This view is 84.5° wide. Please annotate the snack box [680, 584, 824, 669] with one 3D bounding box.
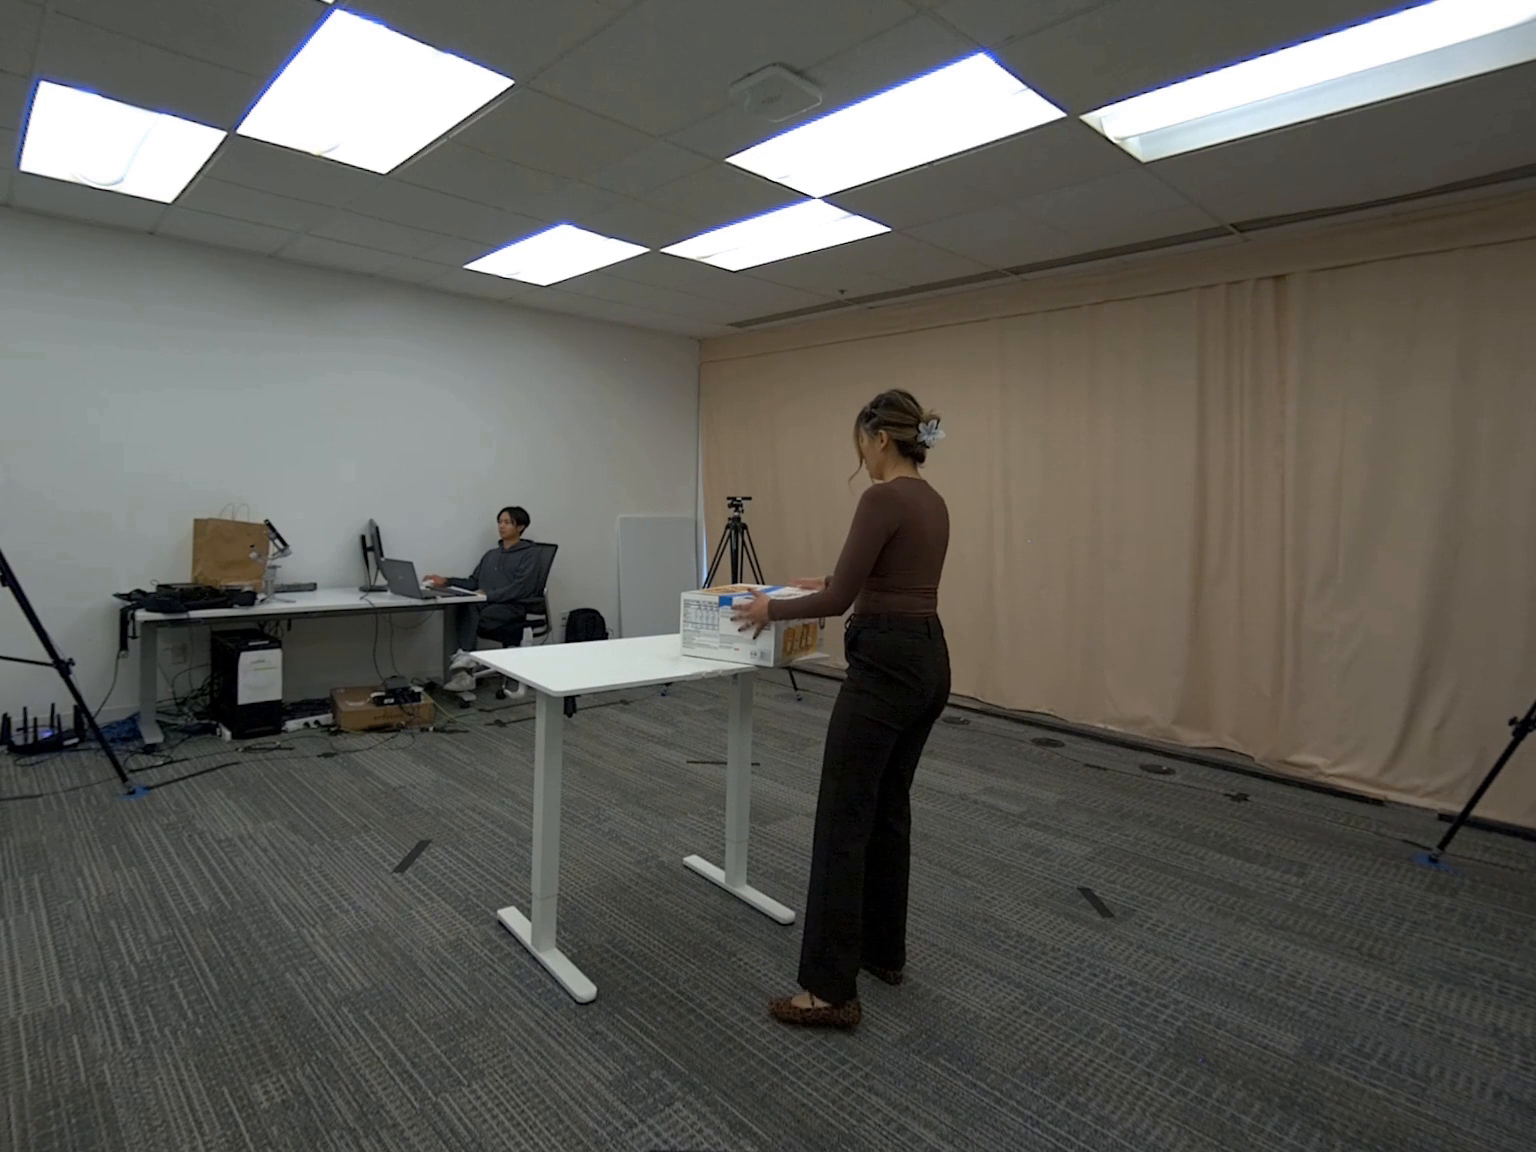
[{"bbox_3d":[-0.045,0.155,2.793,0.347,0.205,0.398,4,5,27],"label":"snack box"}]
